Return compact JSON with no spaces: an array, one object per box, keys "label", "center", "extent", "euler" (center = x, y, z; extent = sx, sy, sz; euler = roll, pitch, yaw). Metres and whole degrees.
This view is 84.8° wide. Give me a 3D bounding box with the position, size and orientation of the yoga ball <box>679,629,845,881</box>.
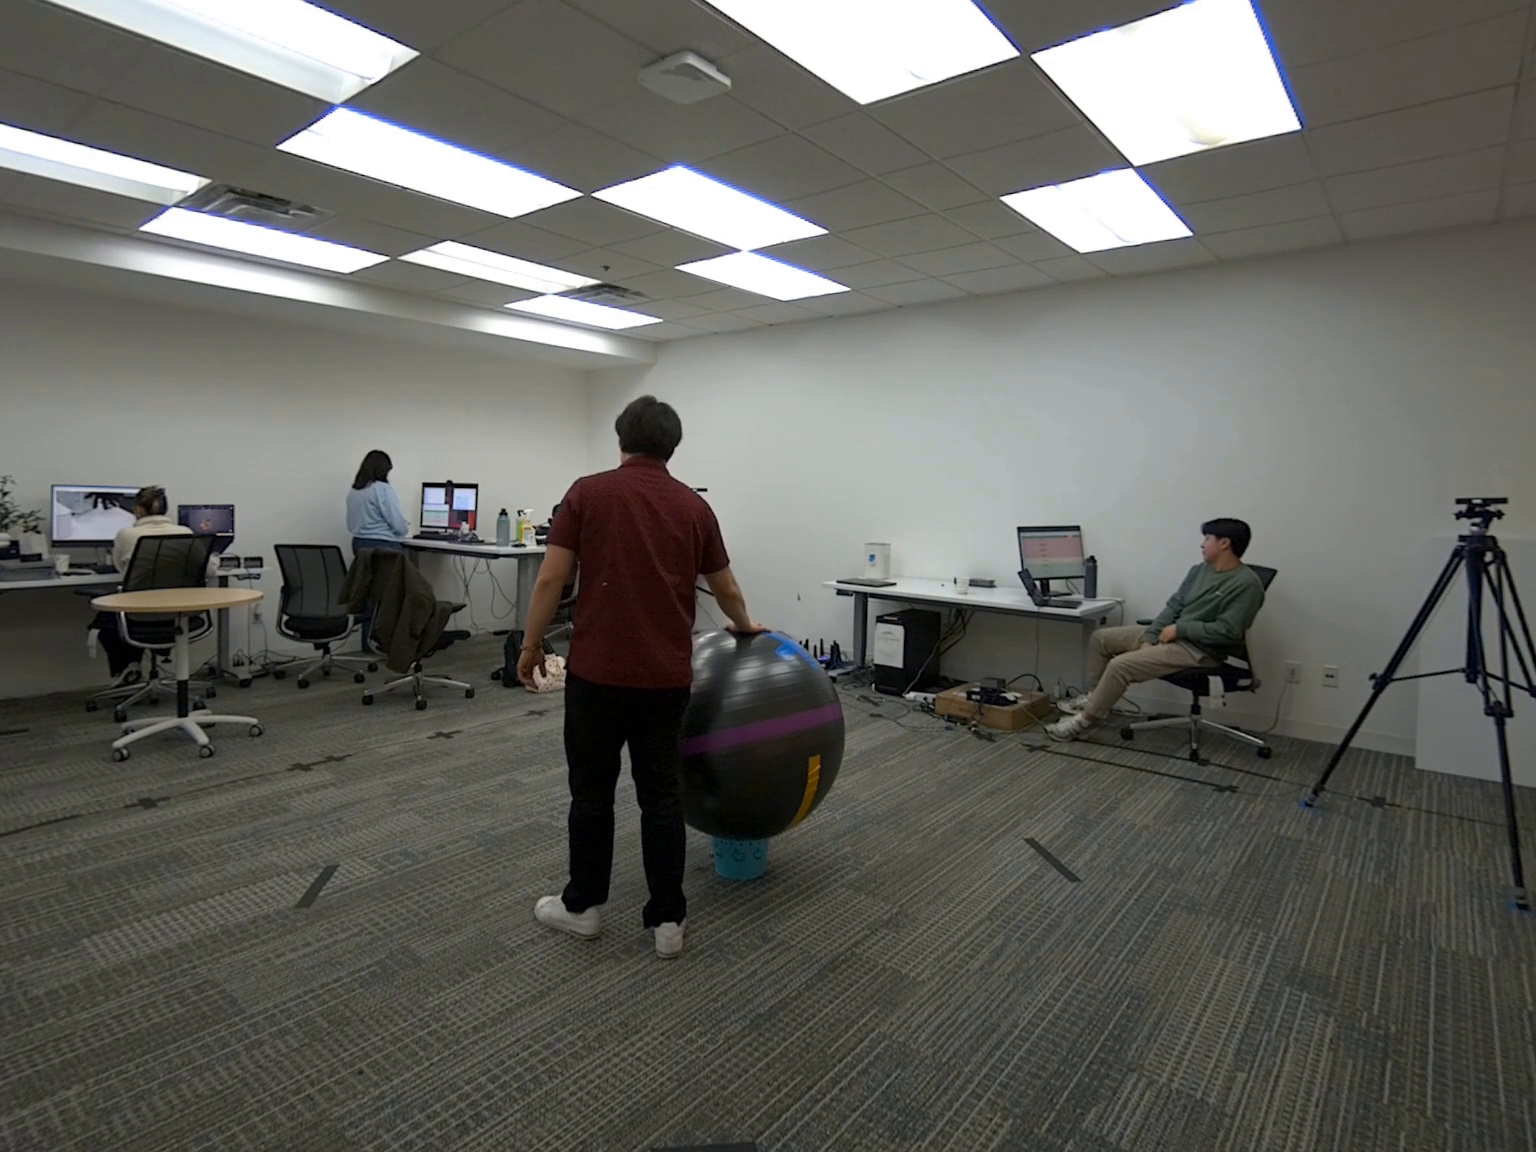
[{"label":"yoga ball","center":[-0.113,0.564,3.107],"extent":[0.757,0.755,0.762],"euler":[1,4,-2]}]
